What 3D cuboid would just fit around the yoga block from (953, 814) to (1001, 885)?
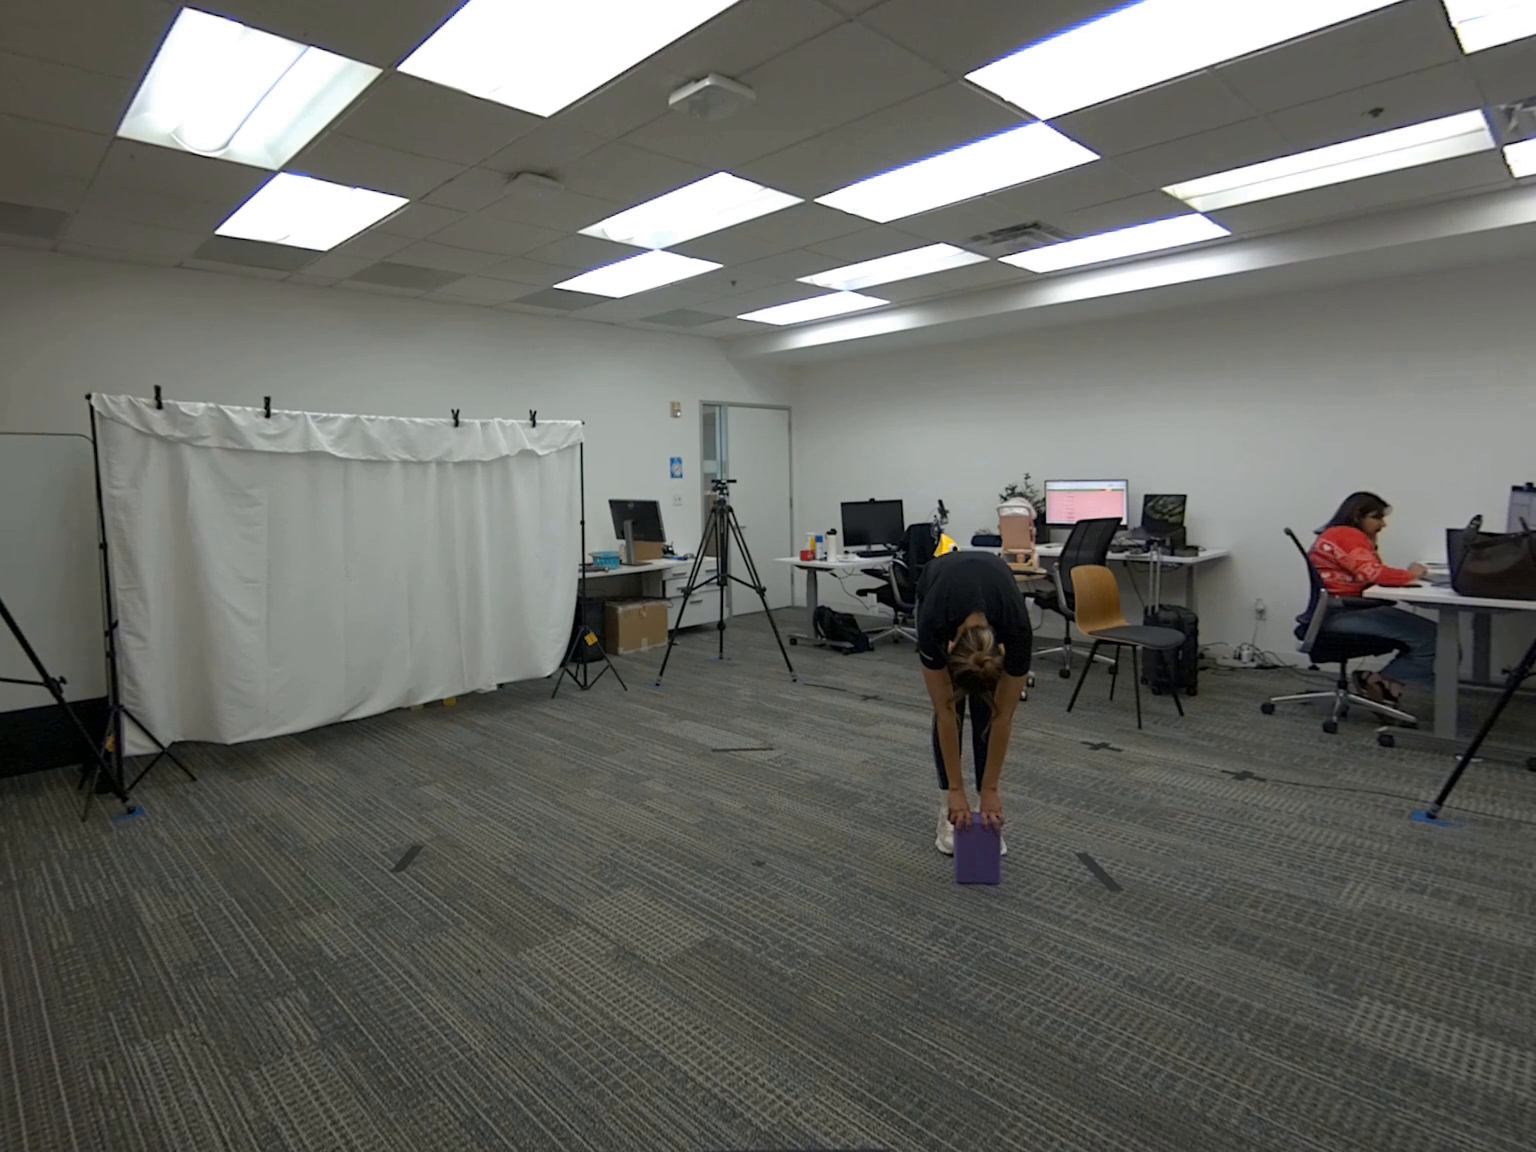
[{"bbox_3d":[0.725,0.944,2.942,0.150,0.229,0.076,-2,3,5],"label":"yoga block"}]
